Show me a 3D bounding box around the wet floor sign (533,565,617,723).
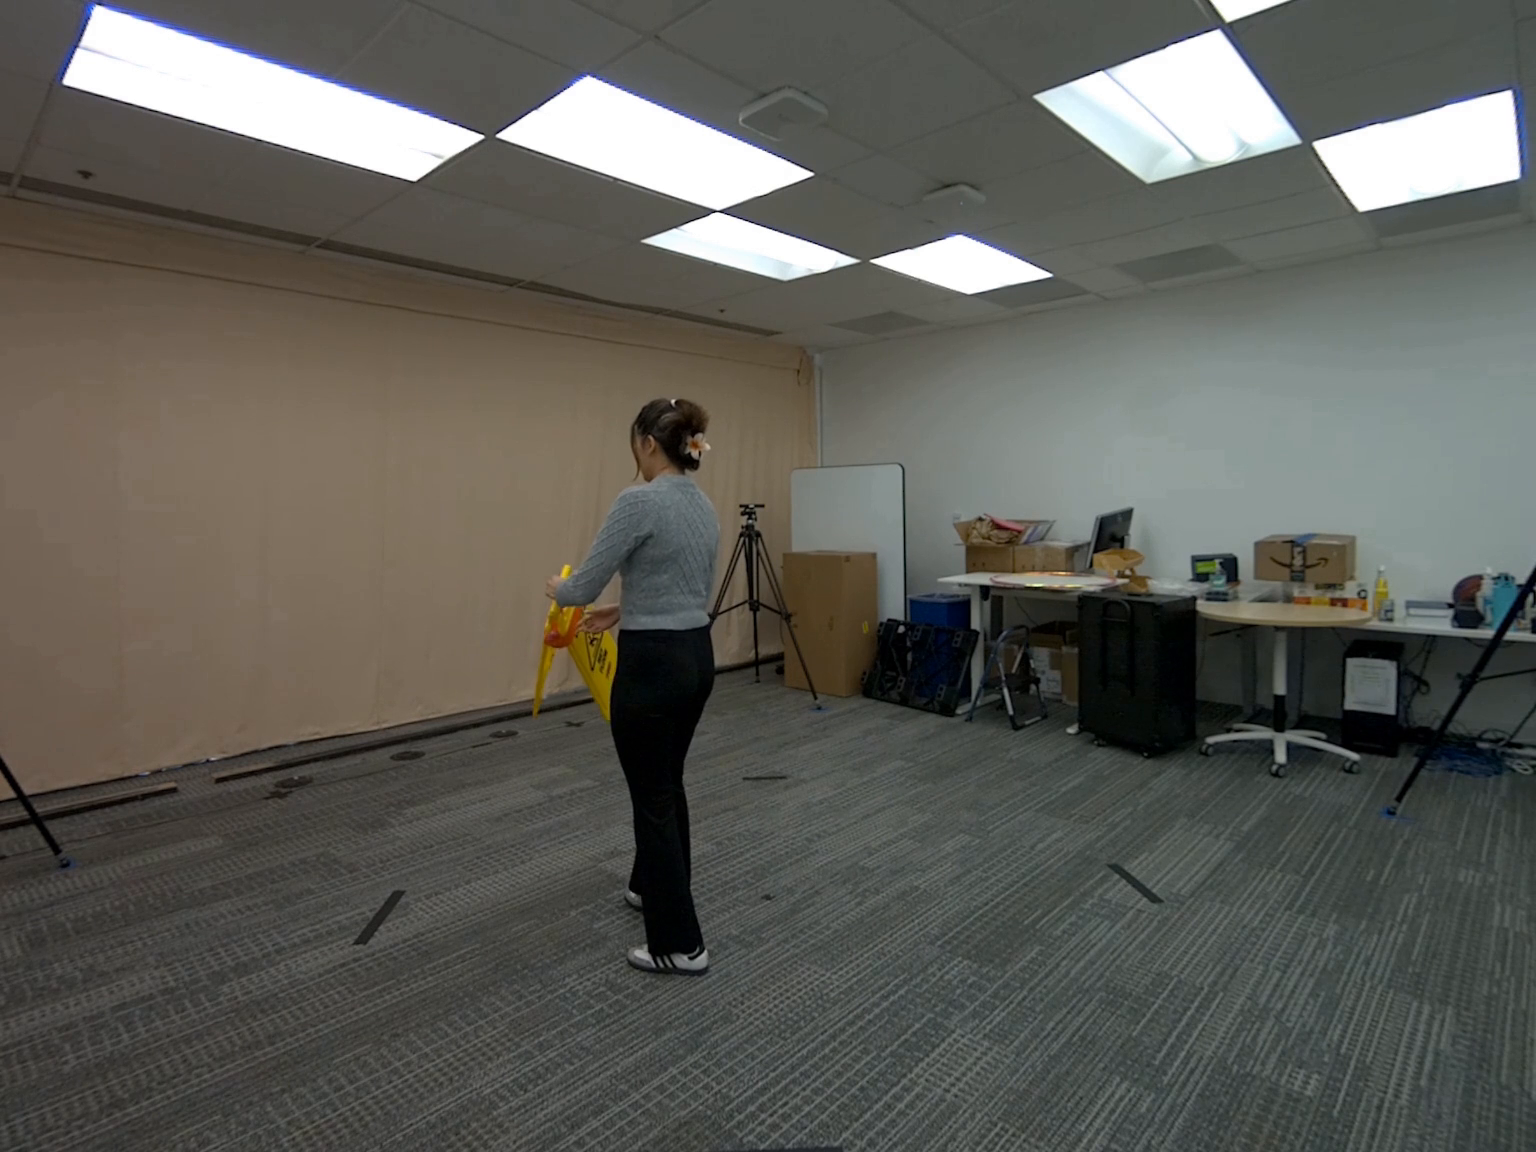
[{"bbox_3d":[-0.696,0.234,2.958,0.291,0.286,0.635,7,-39,2],"label":"wet floor sign"}]
